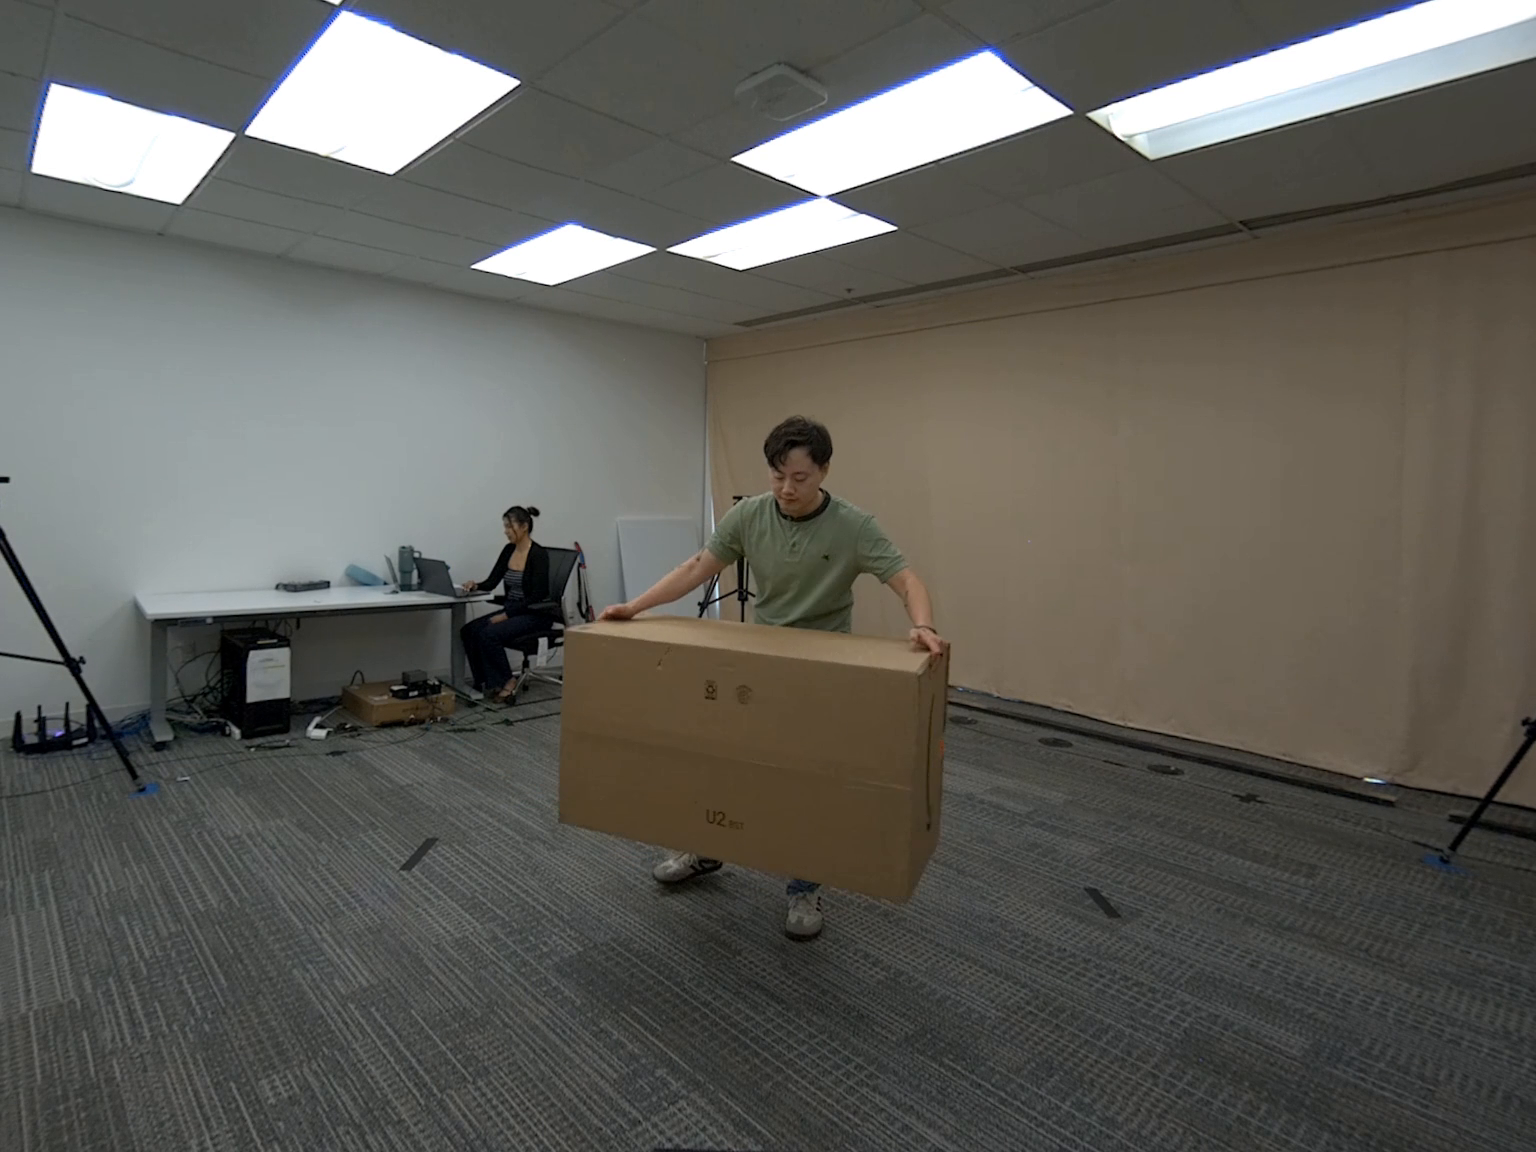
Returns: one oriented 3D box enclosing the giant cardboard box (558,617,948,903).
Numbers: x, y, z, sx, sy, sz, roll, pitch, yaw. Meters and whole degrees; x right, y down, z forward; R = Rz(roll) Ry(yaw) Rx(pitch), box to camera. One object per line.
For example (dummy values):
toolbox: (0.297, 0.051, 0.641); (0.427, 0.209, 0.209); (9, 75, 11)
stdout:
giant cardboard box: (-0.058, 0.455, 2.410); (1.045, 0.576, 0.419); (4, 4, 23)
